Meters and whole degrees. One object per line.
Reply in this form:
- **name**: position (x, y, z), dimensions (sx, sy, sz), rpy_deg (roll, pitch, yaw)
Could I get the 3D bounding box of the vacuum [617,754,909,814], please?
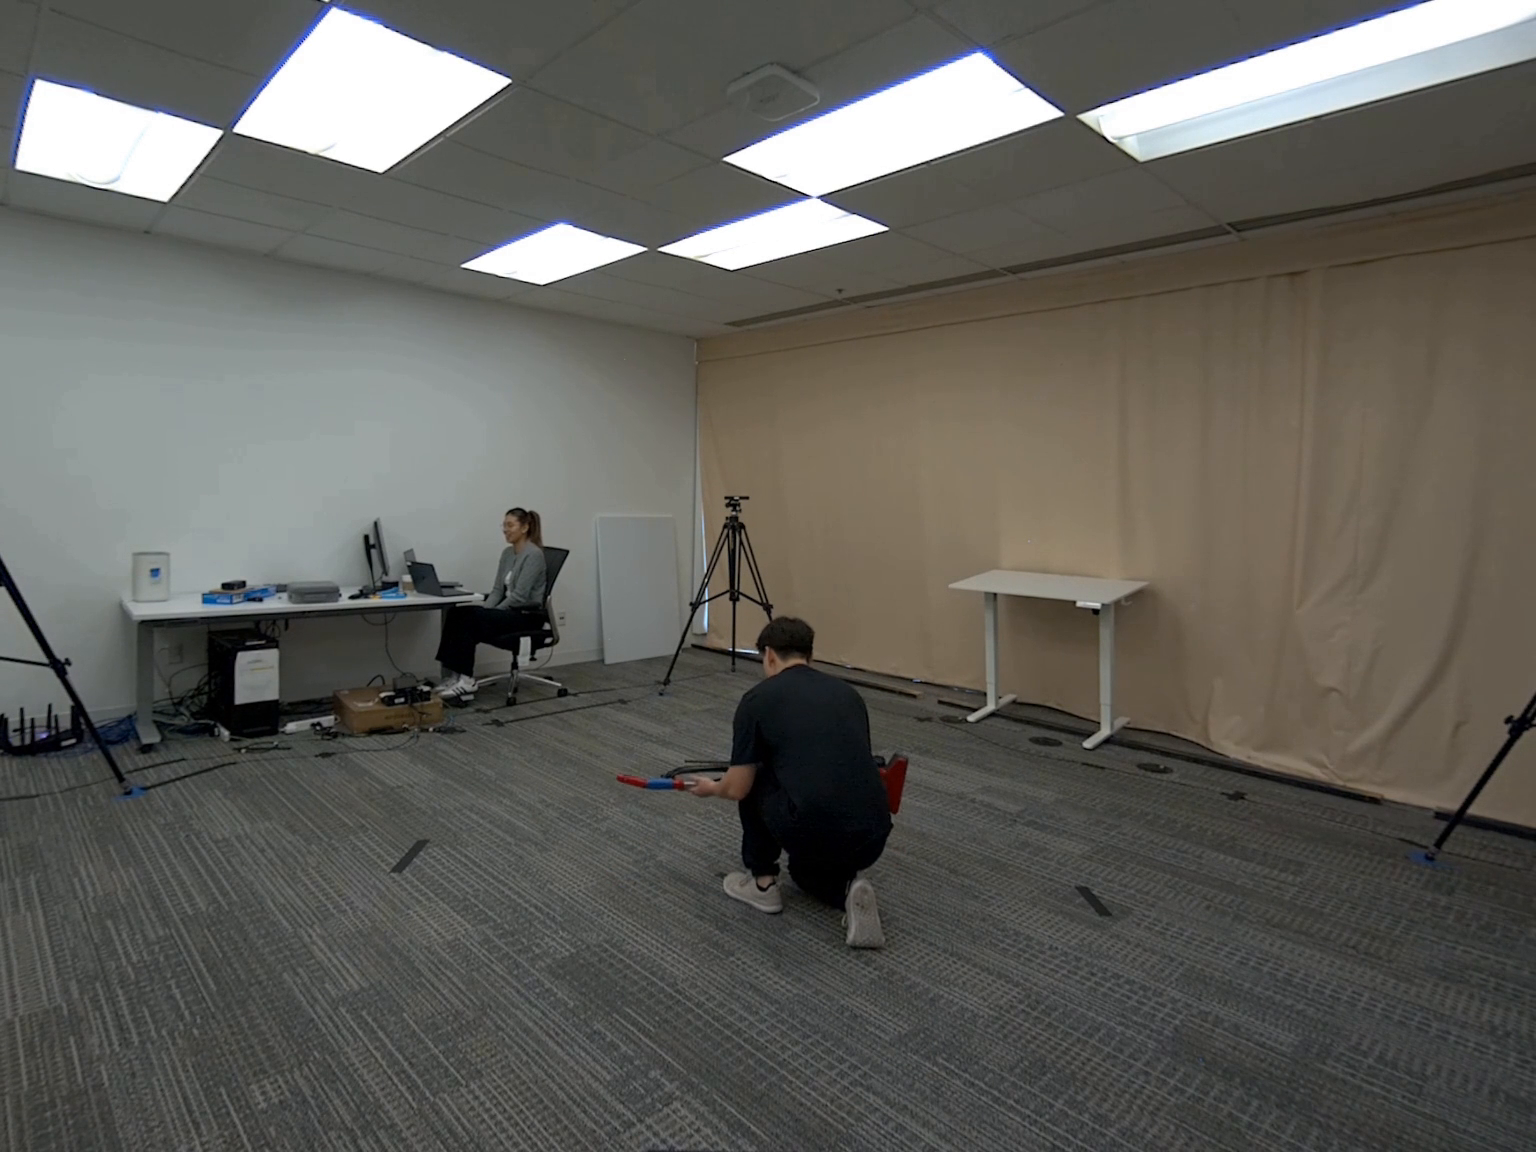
- **vacuum**: position (-0.029, 0.775, 3.189), dimensions (1.039, 0.249, 0.147), rpy_deg (3, 22, -11)
